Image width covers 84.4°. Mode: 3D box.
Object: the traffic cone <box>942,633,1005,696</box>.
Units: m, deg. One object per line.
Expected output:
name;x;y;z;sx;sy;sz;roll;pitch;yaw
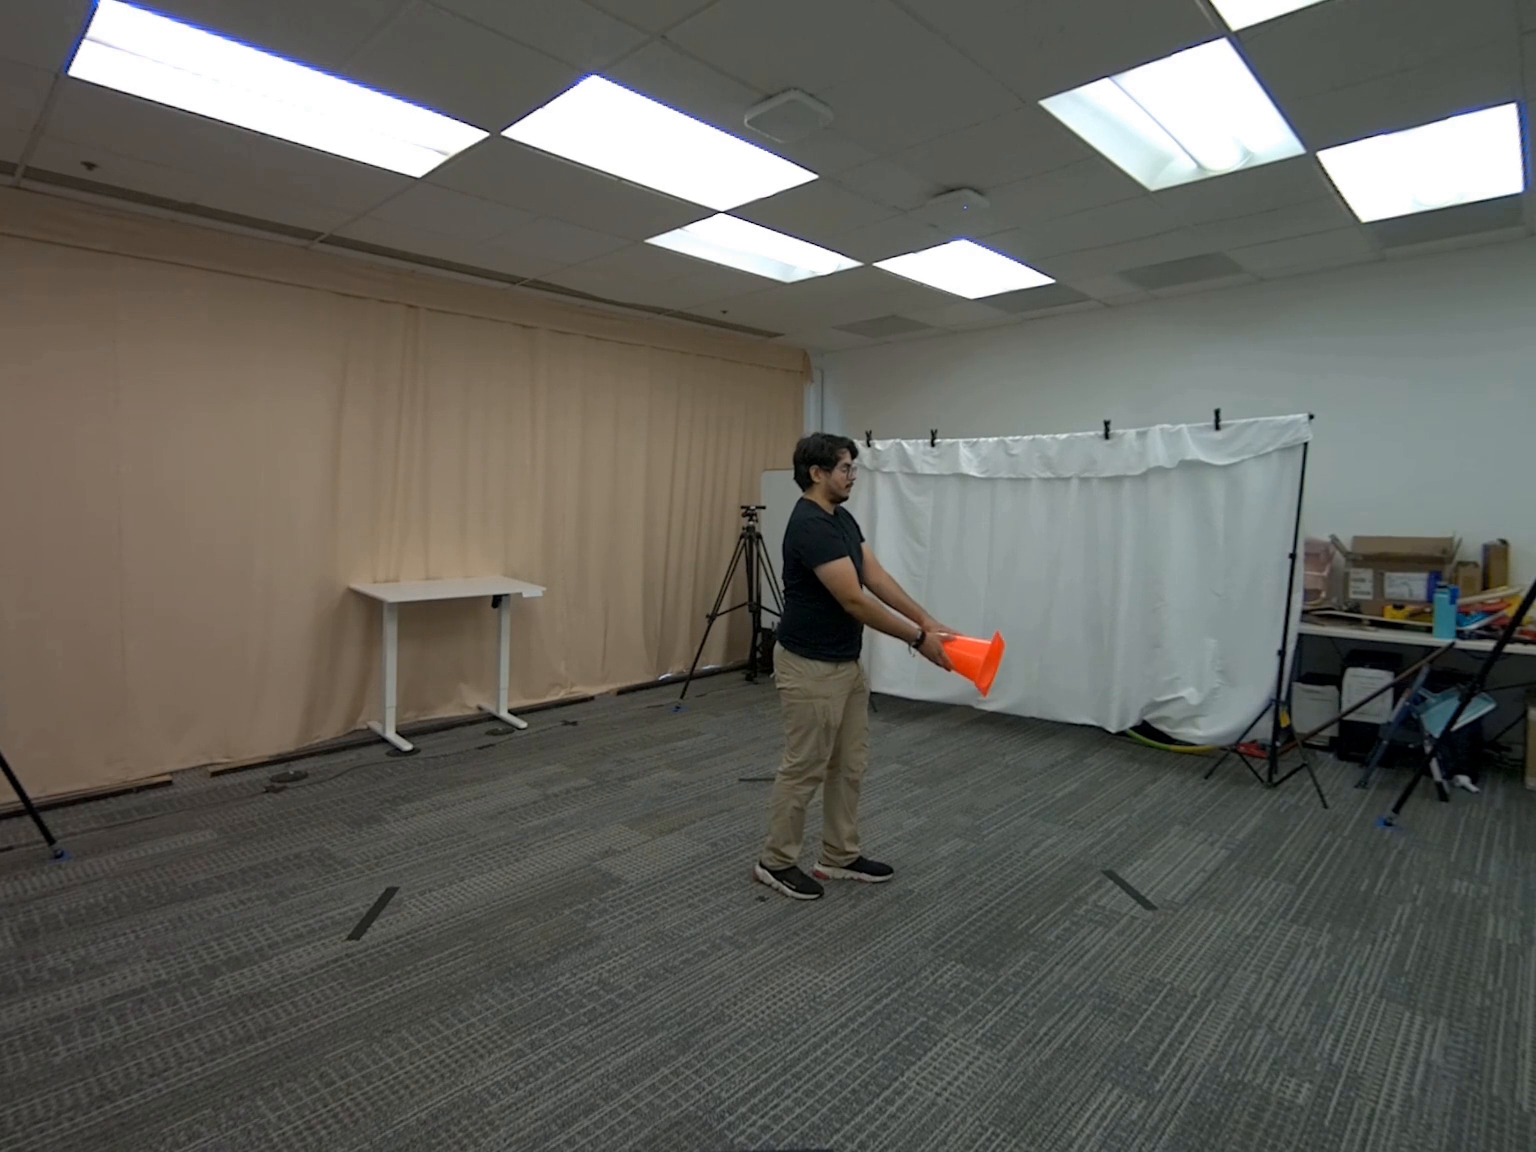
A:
traffic cone;0.602;0.255;2.940;0.397;0.203;0.198;20;-11;33
